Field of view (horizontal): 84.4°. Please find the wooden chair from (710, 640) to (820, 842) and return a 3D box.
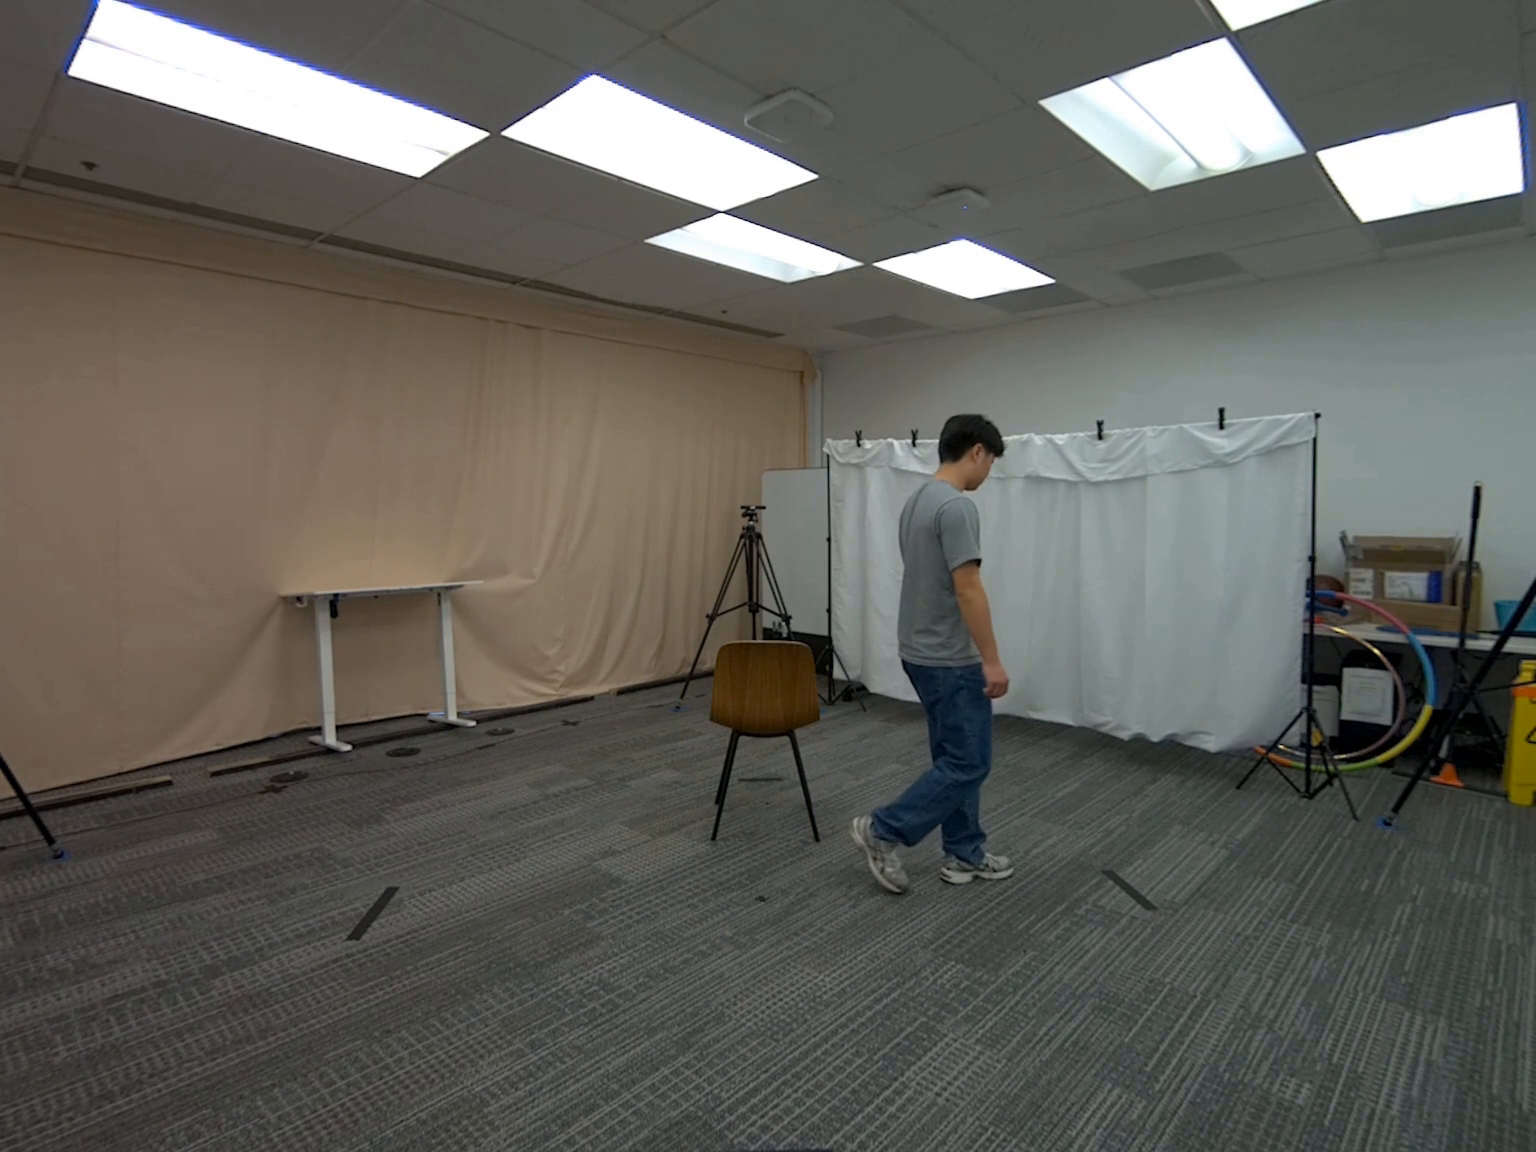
[{"bbox_3d":[-0.029,0.660,3.696,0.478,0.874,0.525,-1,6,-1],"label":"wooden chair"}]
